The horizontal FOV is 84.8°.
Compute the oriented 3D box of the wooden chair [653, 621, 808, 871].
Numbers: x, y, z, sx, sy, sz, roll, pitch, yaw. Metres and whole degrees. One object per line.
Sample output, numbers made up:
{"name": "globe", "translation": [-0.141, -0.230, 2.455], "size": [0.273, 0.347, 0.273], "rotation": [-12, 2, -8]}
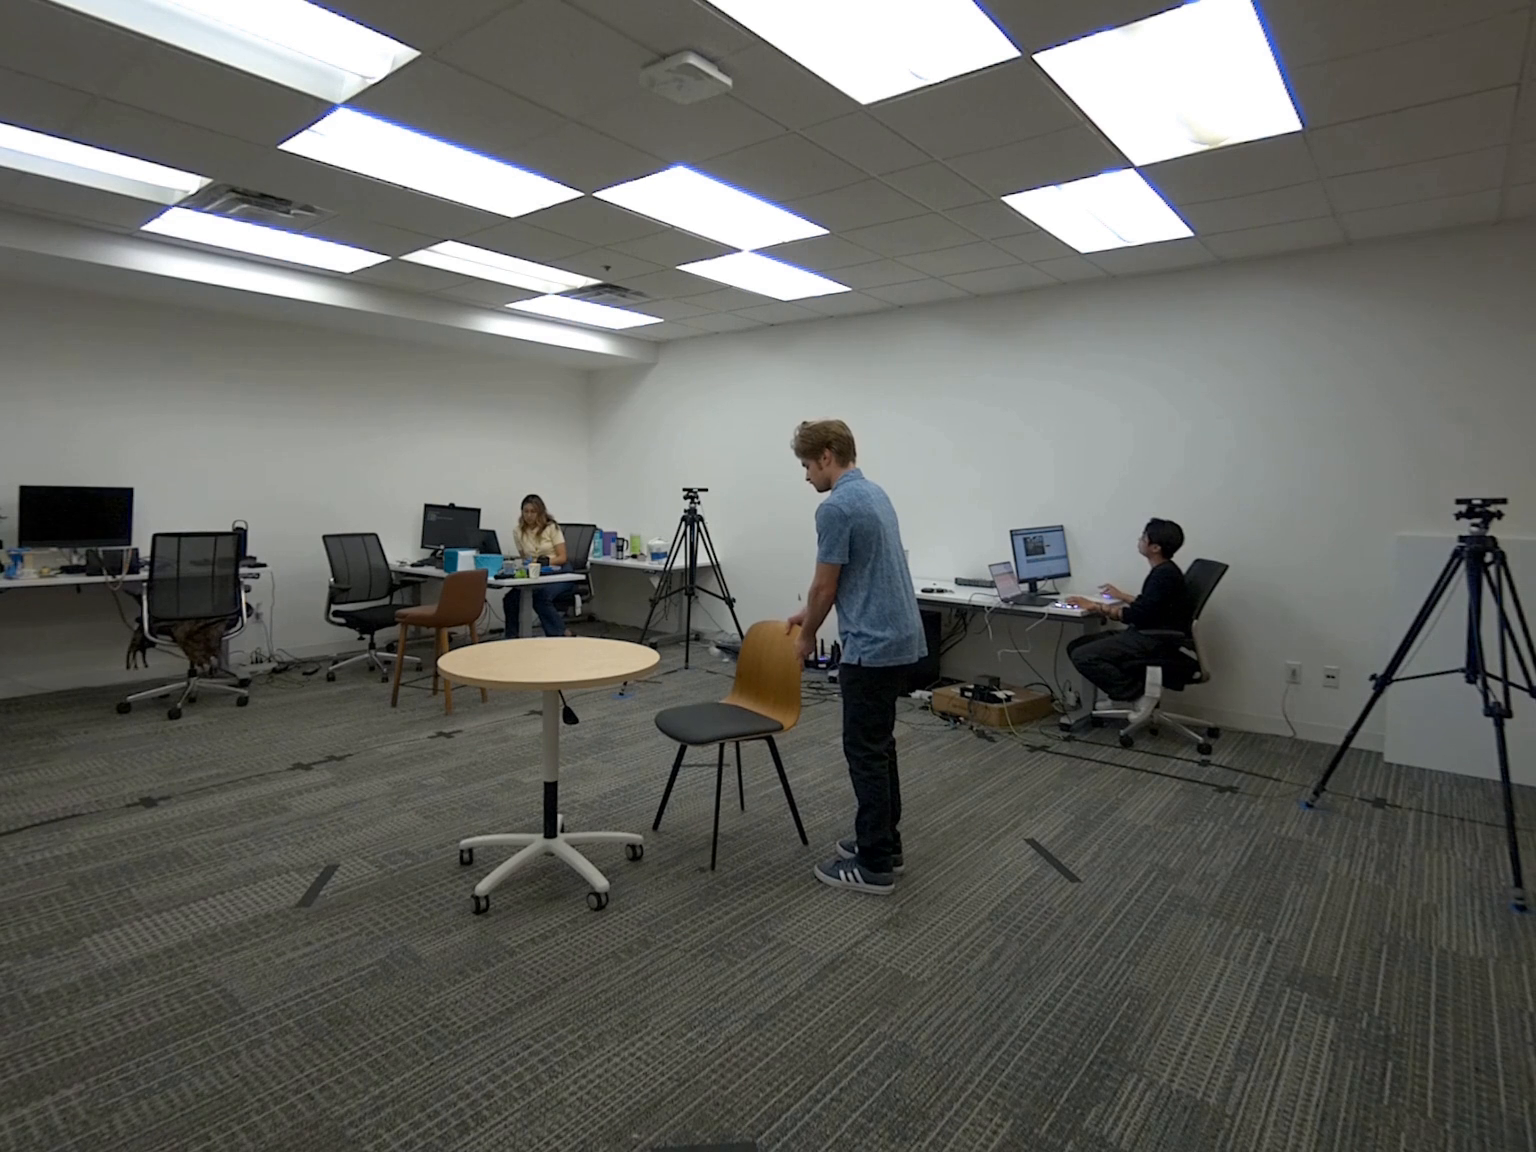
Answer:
{"name": "wooden chair", "translation": [-0.165, 0.619, 3.371], "size": [0.507, 0.877, 0.494], "rotation": [4, 1, -36]}
